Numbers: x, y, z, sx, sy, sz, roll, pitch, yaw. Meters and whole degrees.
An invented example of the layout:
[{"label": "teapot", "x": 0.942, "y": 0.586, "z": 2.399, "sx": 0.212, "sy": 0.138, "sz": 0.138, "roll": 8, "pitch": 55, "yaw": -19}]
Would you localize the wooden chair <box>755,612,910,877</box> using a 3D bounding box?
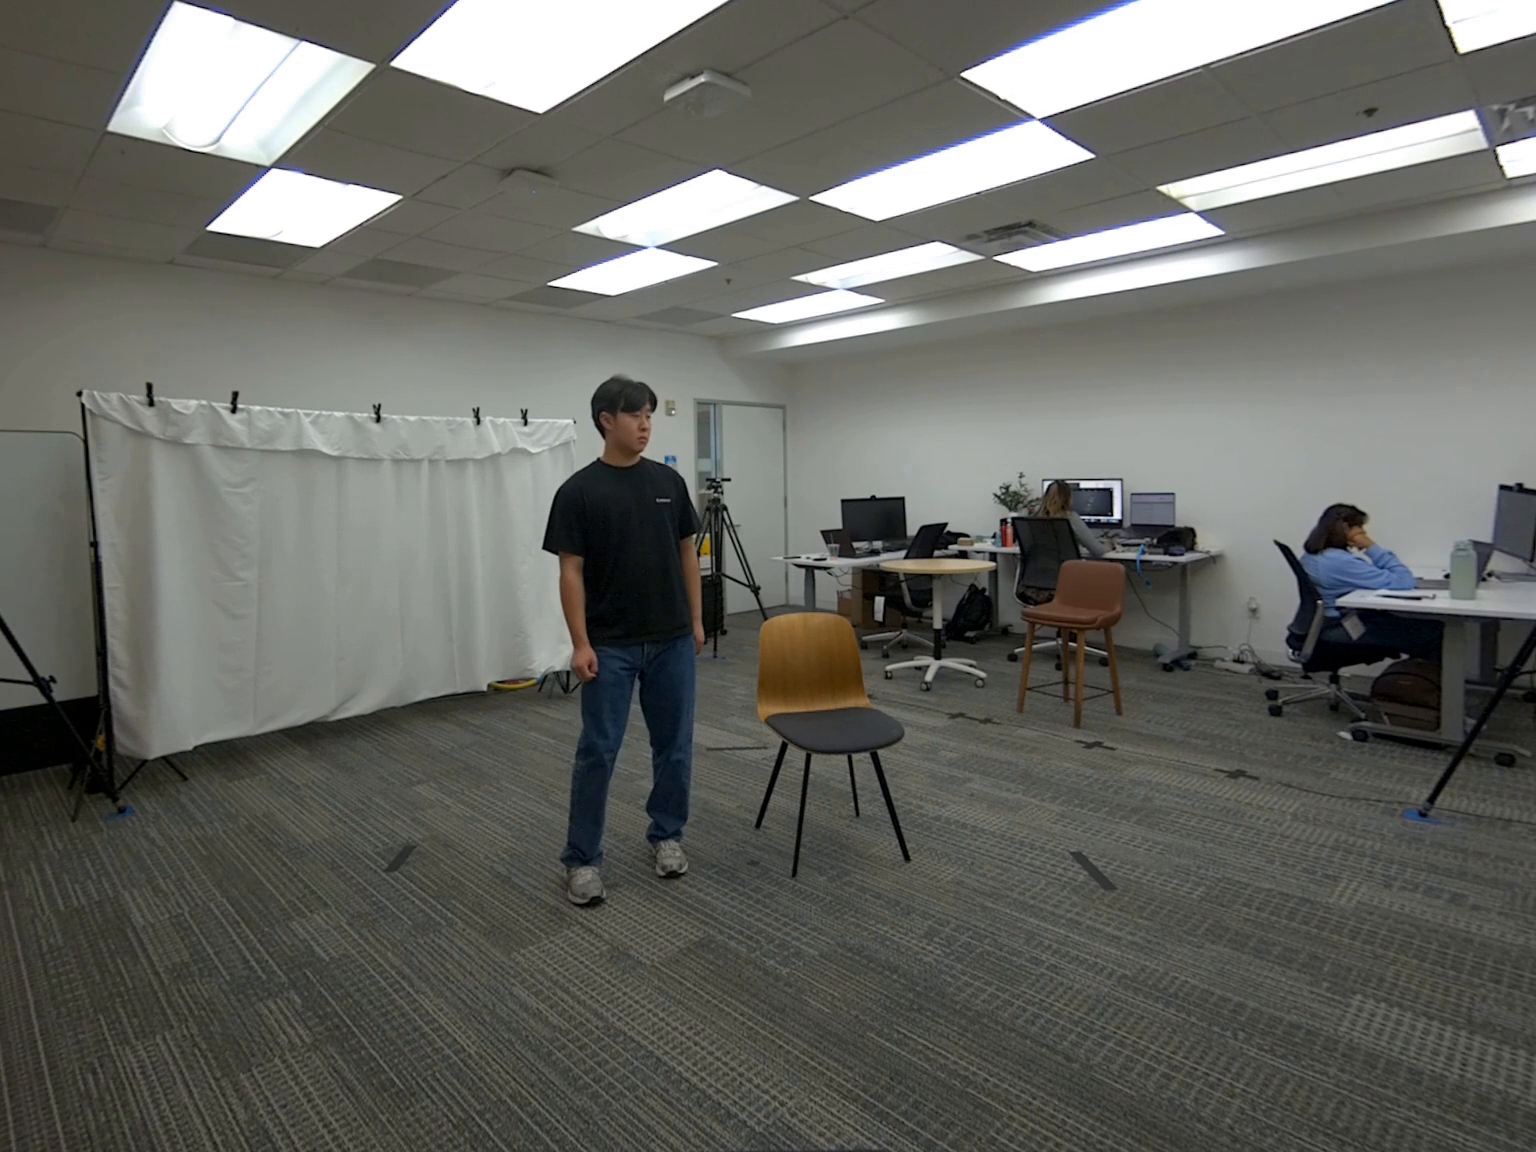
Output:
[{"label": "wooden chair", "x": 0.225, "y": 0.597, "z": 3.219, "sx": 0.471, "sy": 0.877, "sz": 0.531, "roll": -2, "pitch": 0, "yaw": -17}]
